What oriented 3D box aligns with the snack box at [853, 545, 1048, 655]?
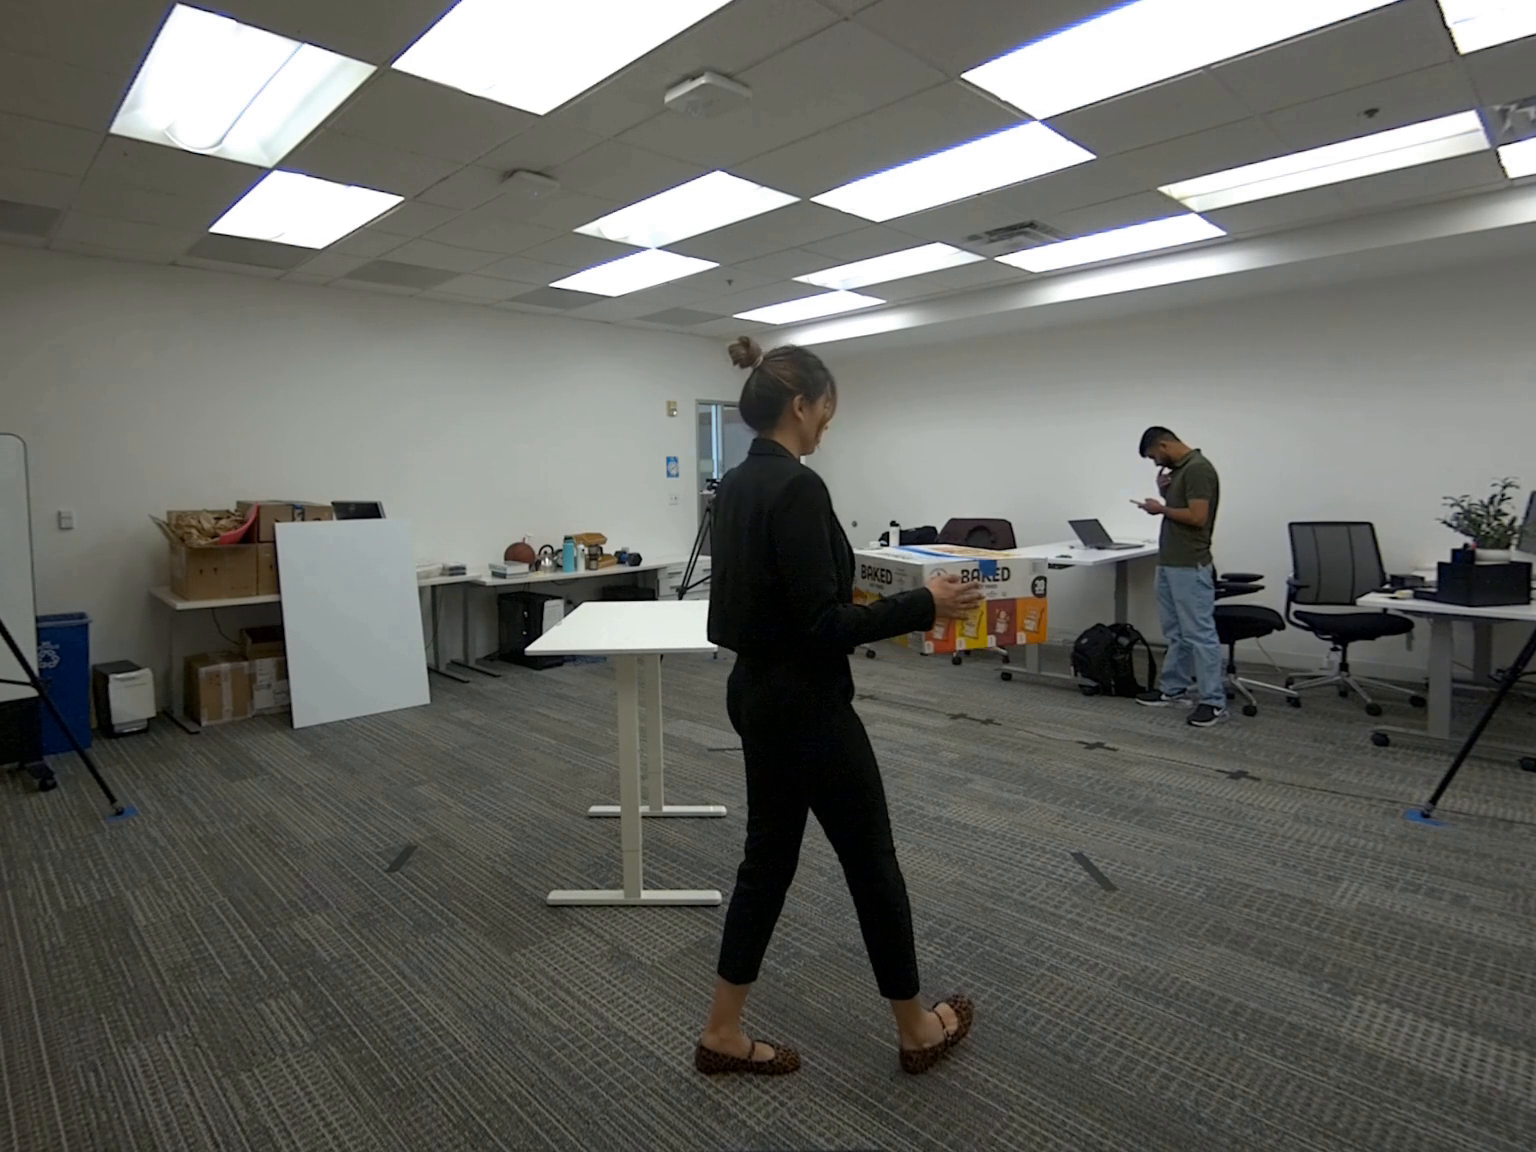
[{"bbox_3d":[0.419,0.043,2.123,0.334,0.205,0.414,-3,6,-22],"label":"snack box"}]
